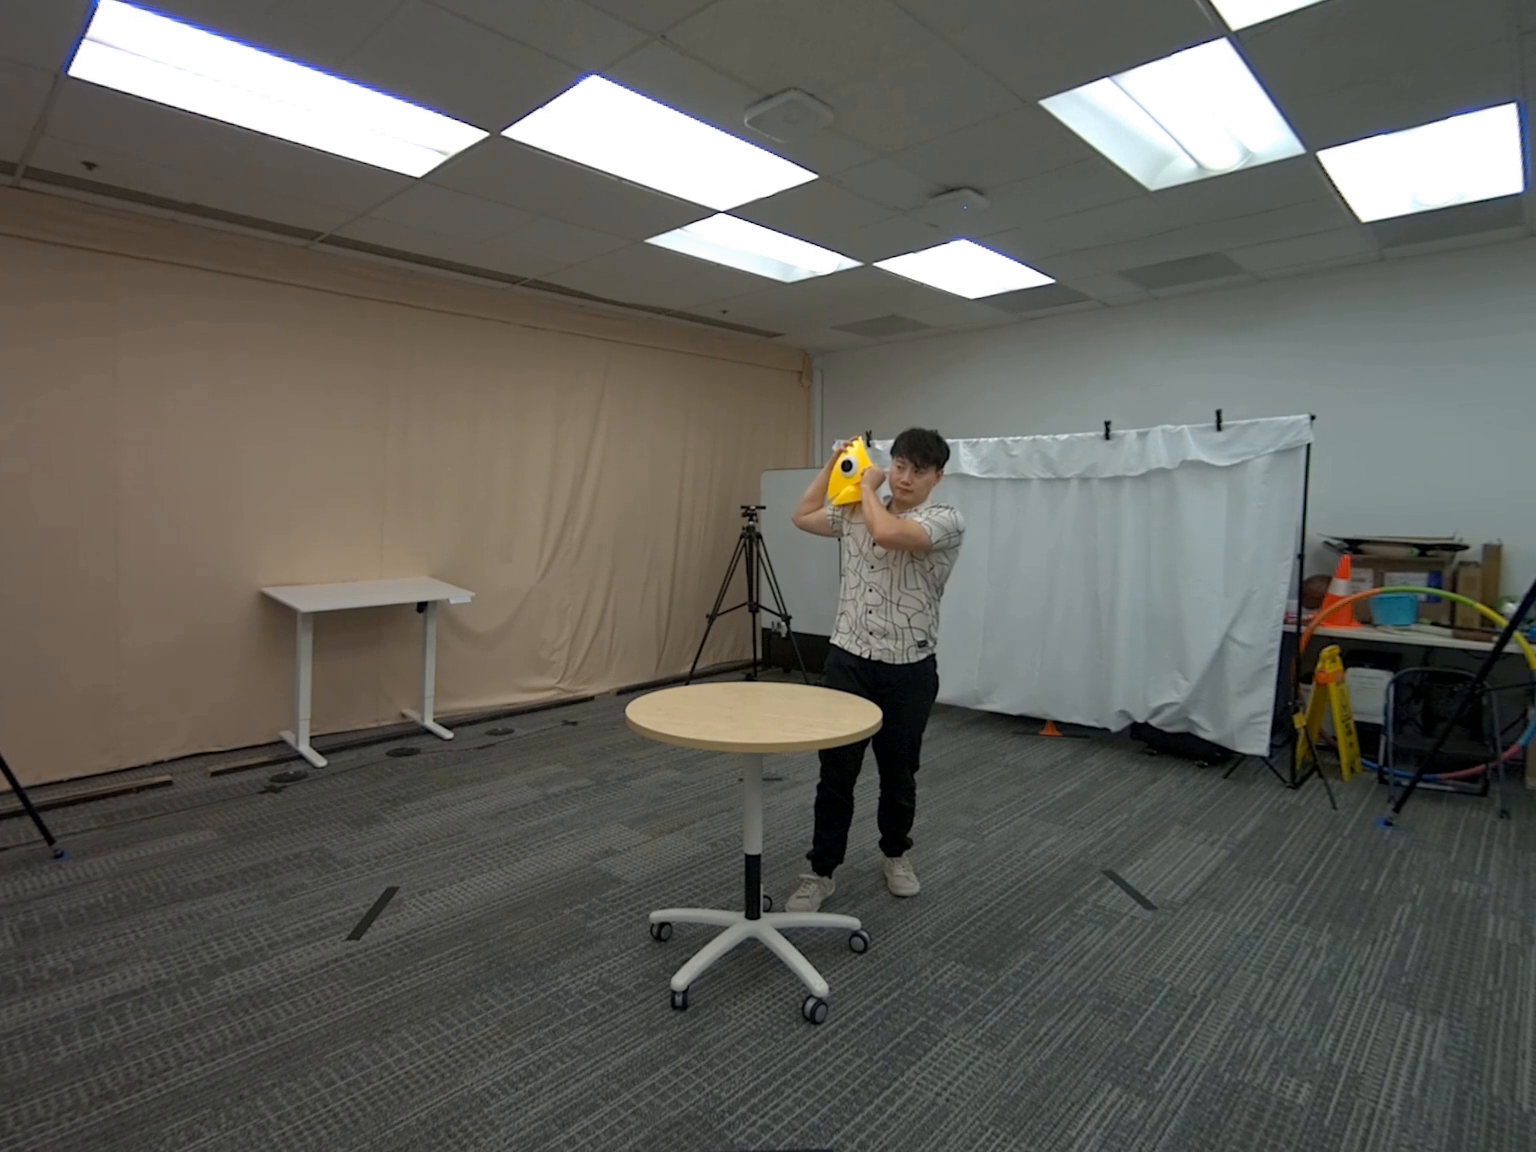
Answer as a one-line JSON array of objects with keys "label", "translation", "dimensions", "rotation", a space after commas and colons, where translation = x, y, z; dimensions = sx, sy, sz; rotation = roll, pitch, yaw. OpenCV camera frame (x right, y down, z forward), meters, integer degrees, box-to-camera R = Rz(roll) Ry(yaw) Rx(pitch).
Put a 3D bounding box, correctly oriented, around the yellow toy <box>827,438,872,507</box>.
[{"label": "yellow toy", "translation": [0.303, -0.385, 3.084], "dimensions": [0.194, 0.230, 0.204], "rotation": [-10, 2, 5]}]
